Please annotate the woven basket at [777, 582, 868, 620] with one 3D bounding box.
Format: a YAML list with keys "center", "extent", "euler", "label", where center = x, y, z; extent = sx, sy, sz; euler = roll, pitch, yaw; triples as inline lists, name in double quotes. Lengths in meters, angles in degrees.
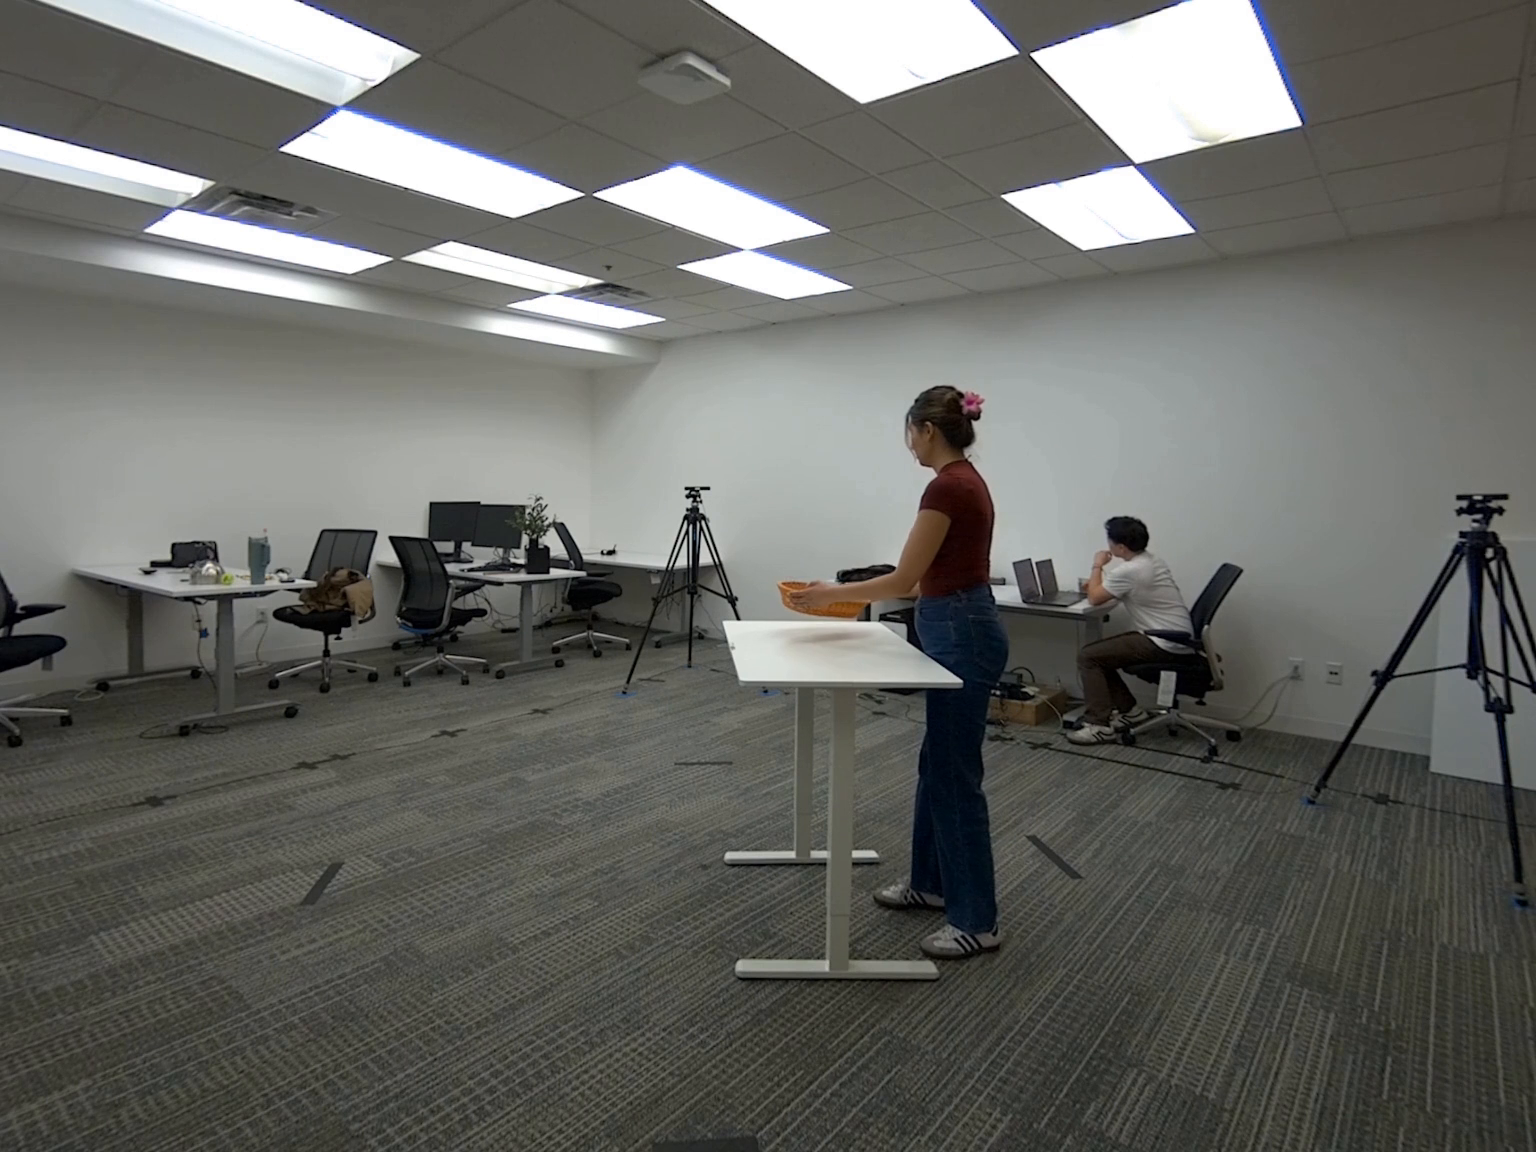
- center: [0.184, 0.090, 2.934]
  extent: [0.341, 0.073, 0.260]
  euler: [5, 9, -25]
  label: "woven basket"
